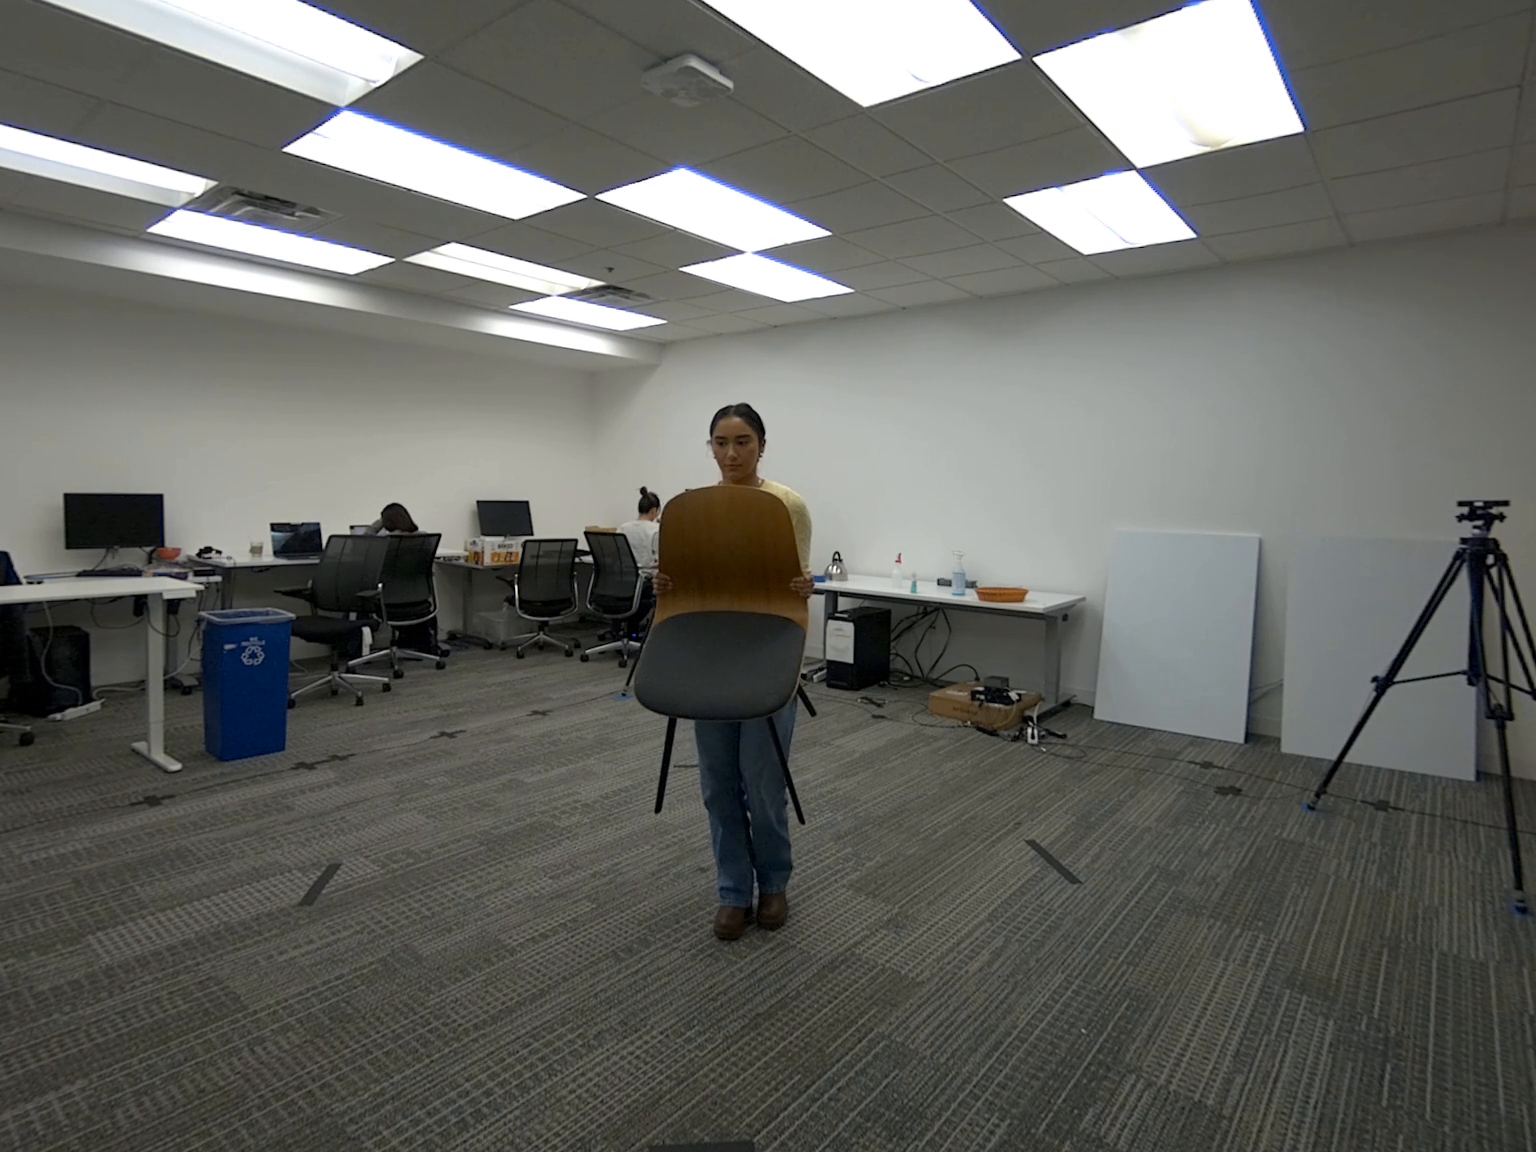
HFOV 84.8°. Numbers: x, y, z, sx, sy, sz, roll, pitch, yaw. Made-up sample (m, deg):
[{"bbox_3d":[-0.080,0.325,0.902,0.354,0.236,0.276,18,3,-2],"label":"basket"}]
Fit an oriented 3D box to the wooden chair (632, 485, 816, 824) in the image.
[{"bbox_3d":[-0.134,0.244,2.470,0.484,0.855,0.530,2,29,10],"label":"wooden chair"}]
